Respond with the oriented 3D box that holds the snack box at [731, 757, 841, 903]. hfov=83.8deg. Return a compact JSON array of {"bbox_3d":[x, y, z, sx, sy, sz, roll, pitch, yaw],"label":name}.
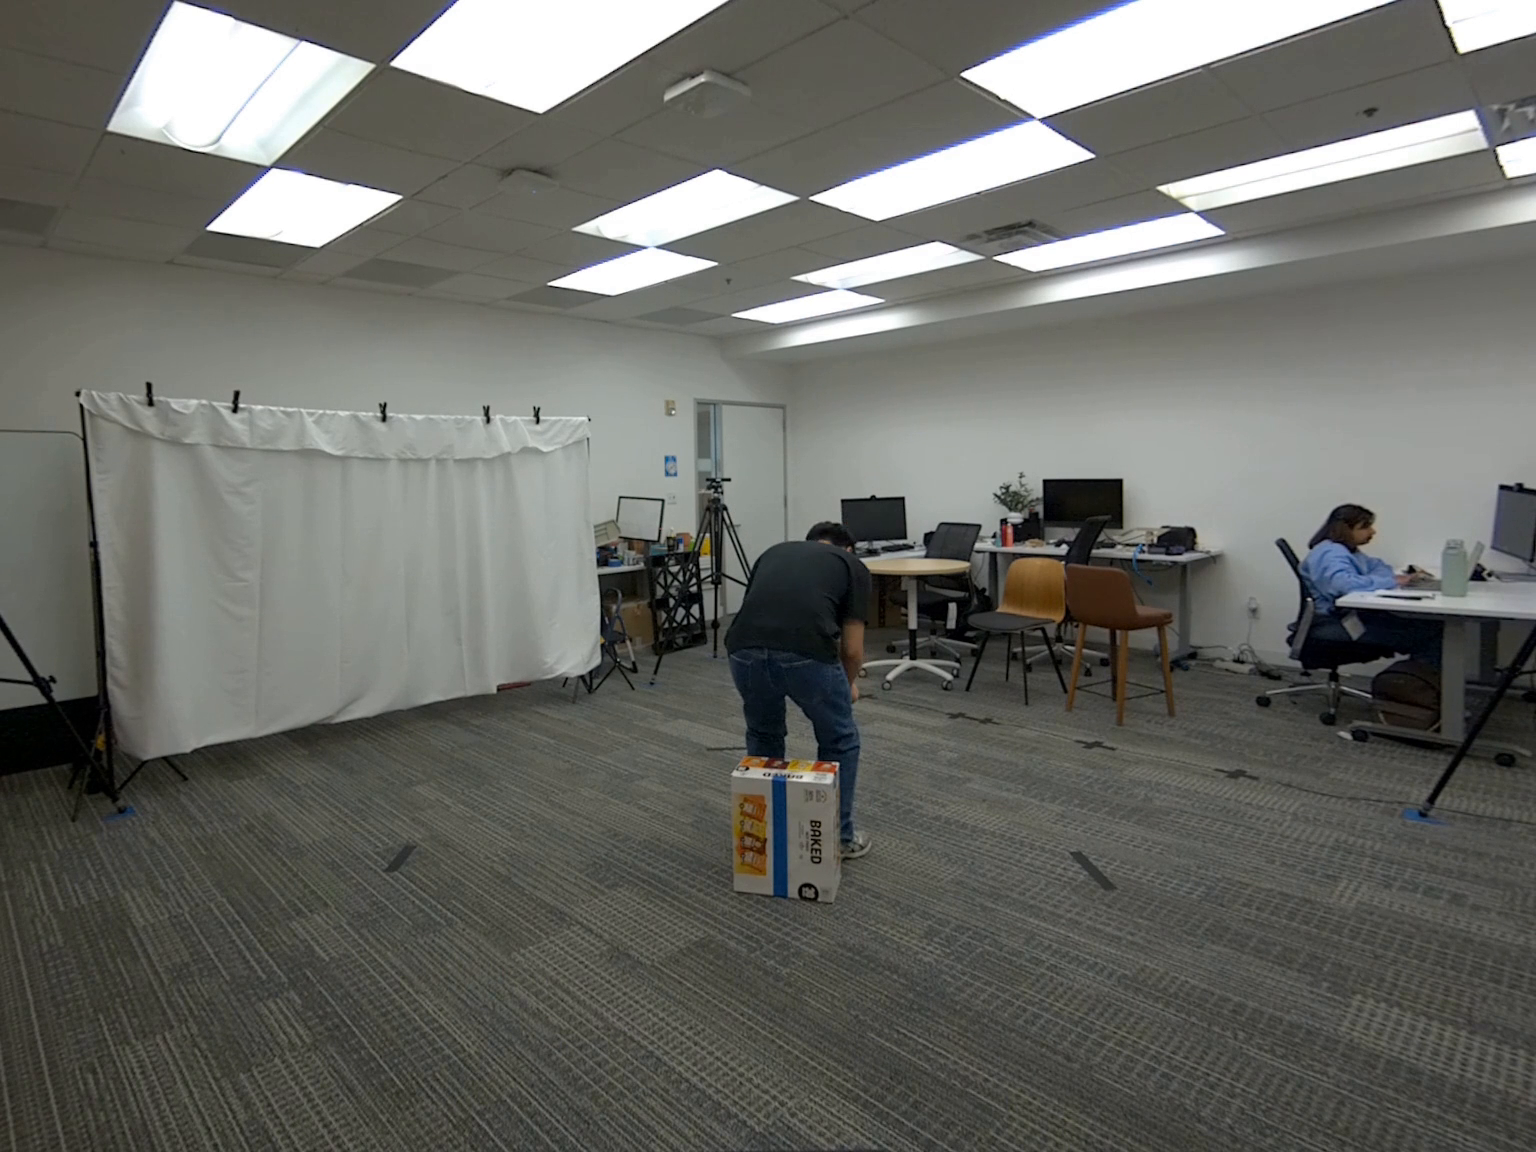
[{"bbox_3d":[0.069,0.860,2.923,0.345,0.403,0.203,0,5,15],"label":"snack box"}]
